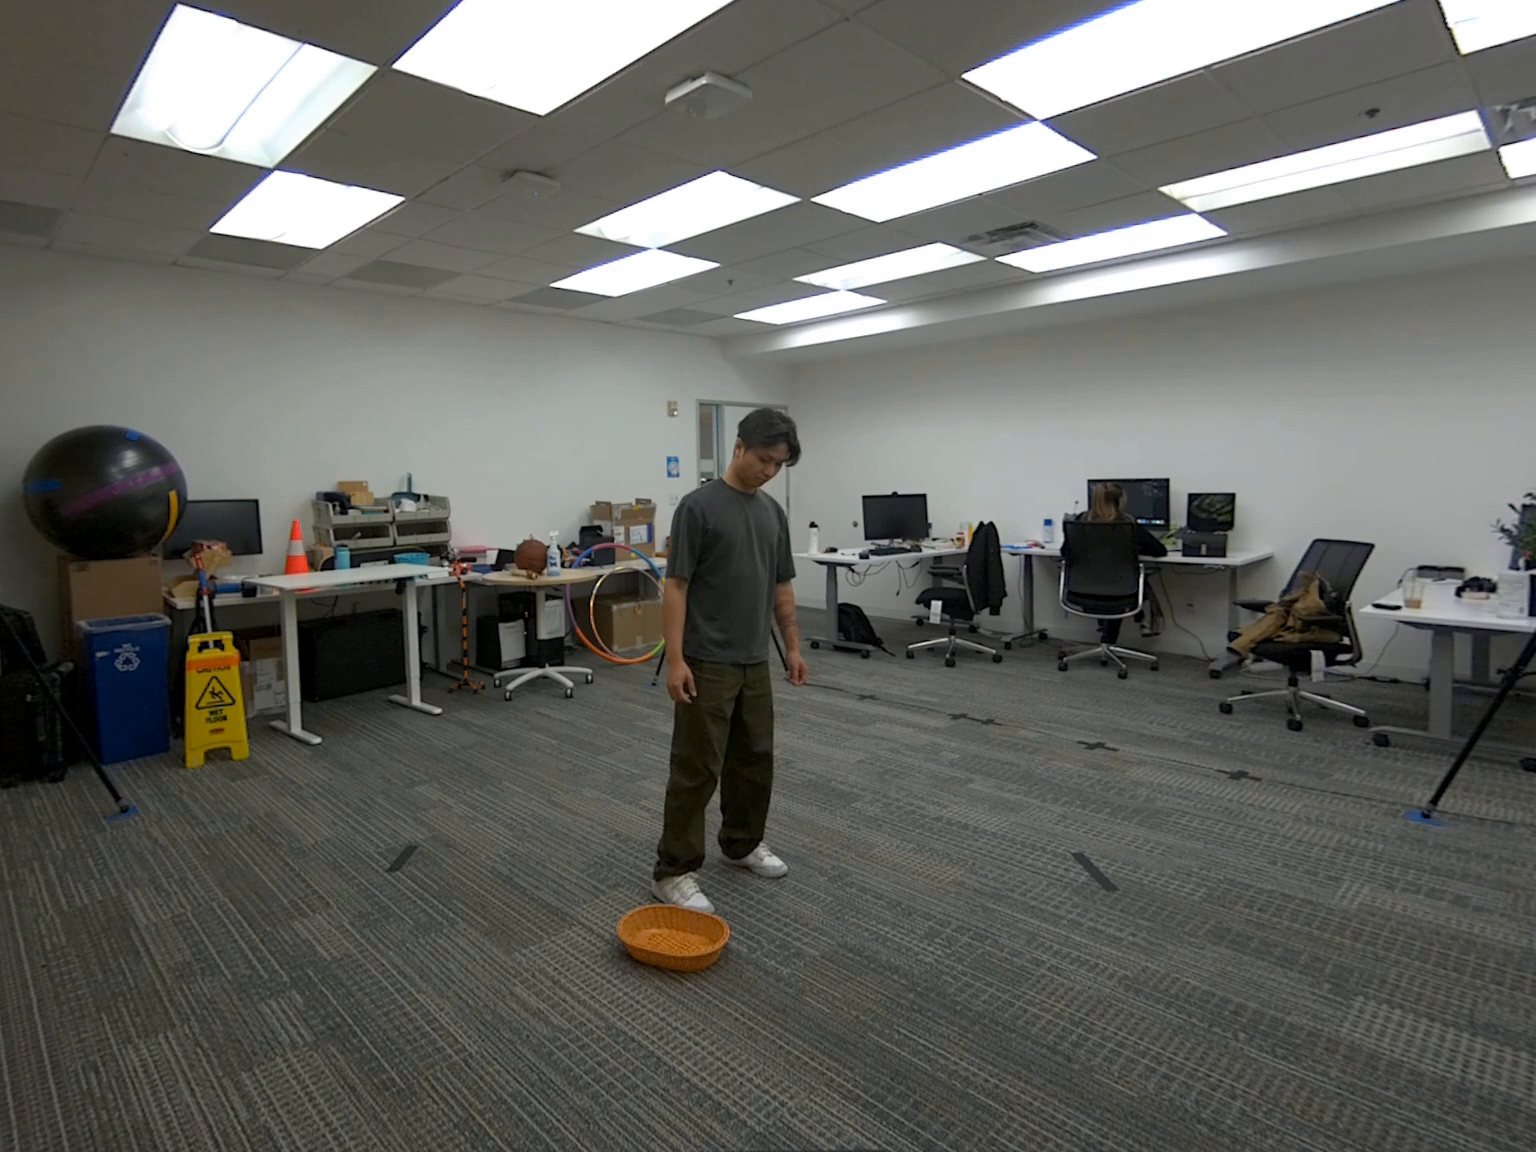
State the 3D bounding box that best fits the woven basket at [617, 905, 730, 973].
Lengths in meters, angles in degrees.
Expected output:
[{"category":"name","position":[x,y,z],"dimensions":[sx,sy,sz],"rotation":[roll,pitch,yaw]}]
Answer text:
[{"category":"woven basket","position":[-0.277,1.079,2.538],"dimensions":[0.359,0.073,0.247],"rotation":[2,7,29]}]
